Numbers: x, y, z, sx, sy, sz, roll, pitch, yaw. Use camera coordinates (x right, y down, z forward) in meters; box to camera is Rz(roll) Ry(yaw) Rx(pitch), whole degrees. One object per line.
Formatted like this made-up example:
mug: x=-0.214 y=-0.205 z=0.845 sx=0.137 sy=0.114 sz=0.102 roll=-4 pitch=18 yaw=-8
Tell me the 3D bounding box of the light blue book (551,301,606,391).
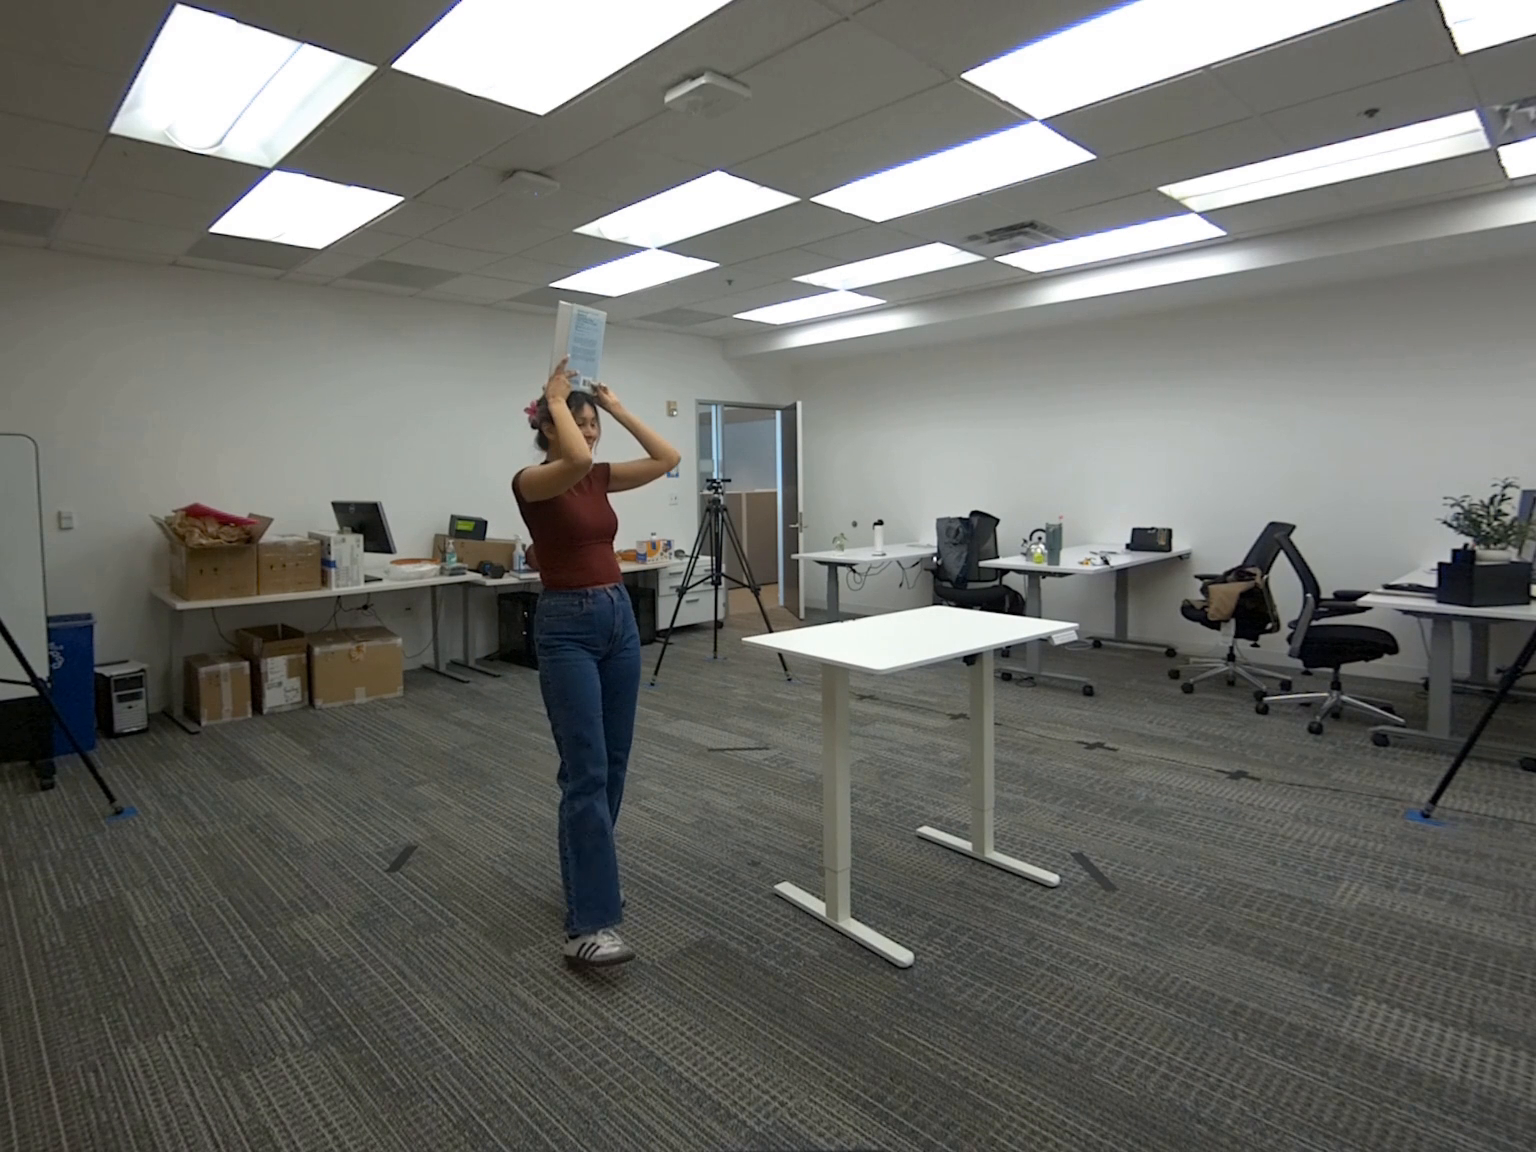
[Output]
light blue book: x=-0.600 y=-0.716 z=2.692 sx=0.060 sy=0.259 sz=0.188 roll=12 pitch=9 yaw=19
